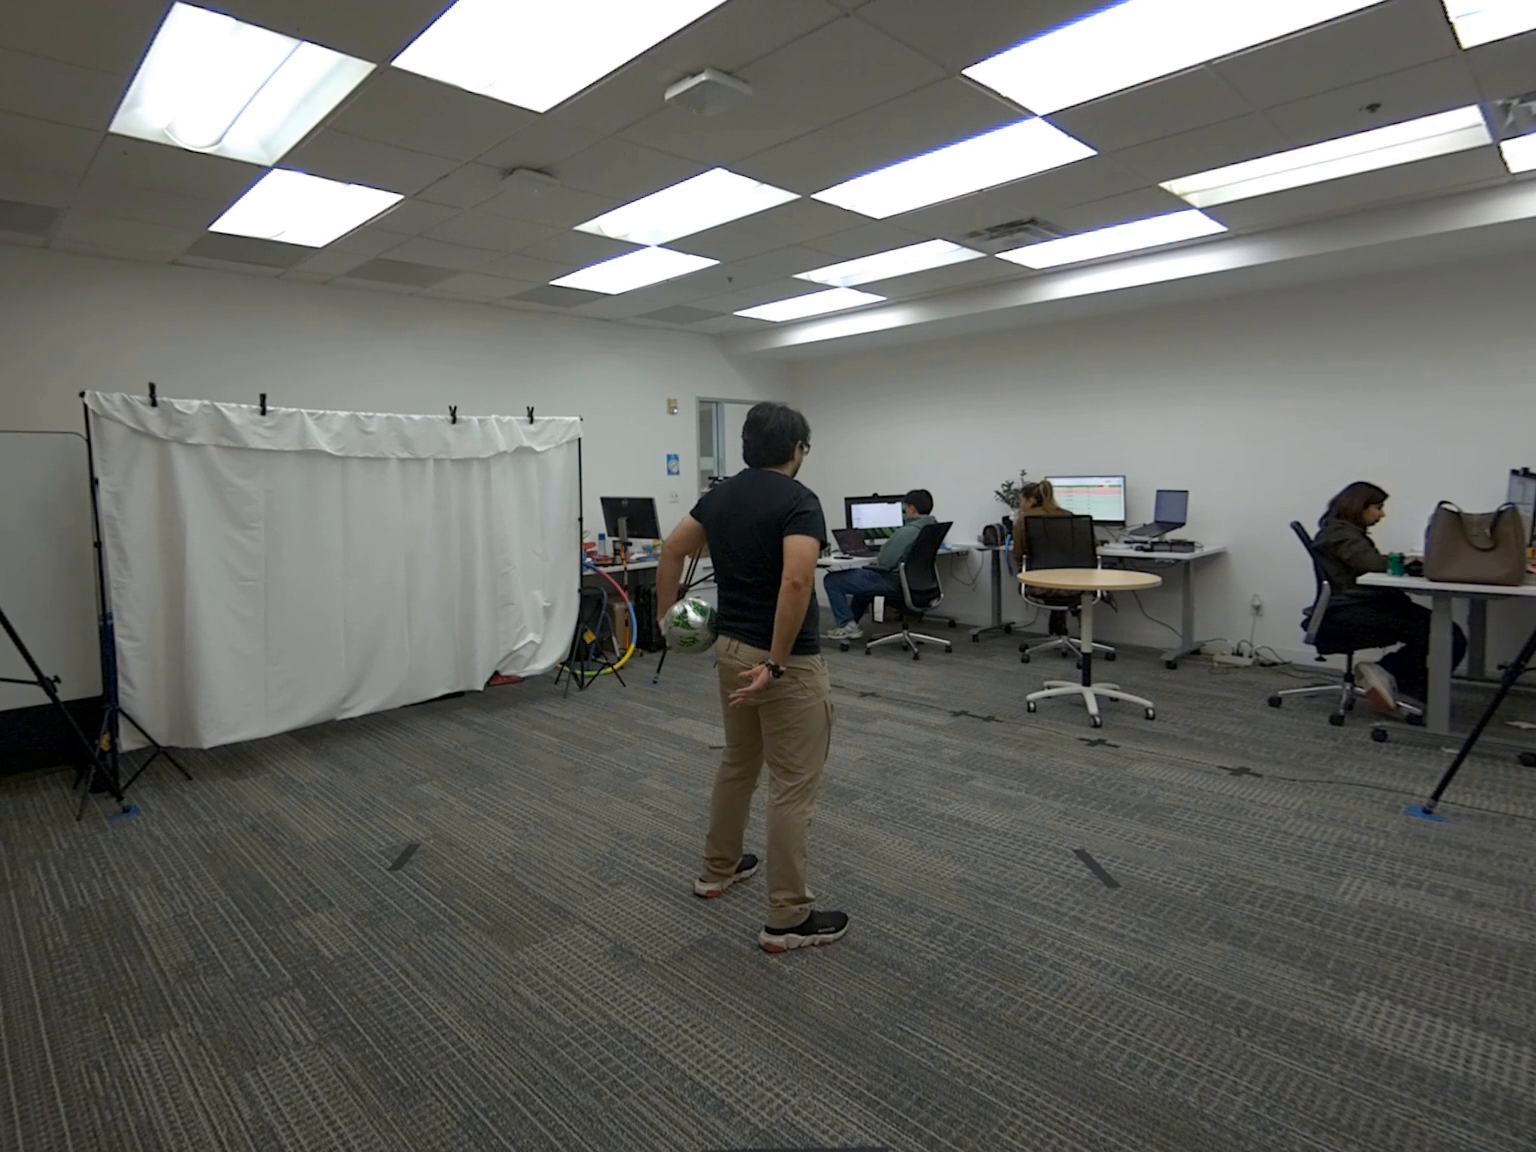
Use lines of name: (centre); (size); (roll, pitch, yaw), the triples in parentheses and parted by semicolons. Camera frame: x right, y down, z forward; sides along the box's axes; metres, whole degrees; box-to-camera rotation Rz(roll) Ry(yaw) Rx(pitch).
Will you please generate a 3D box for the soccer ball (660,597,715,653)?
soccer ball: (-0.246, 0.162, 2.791); (0.187, 0.187, 0.188); (-1, 5, -2)
